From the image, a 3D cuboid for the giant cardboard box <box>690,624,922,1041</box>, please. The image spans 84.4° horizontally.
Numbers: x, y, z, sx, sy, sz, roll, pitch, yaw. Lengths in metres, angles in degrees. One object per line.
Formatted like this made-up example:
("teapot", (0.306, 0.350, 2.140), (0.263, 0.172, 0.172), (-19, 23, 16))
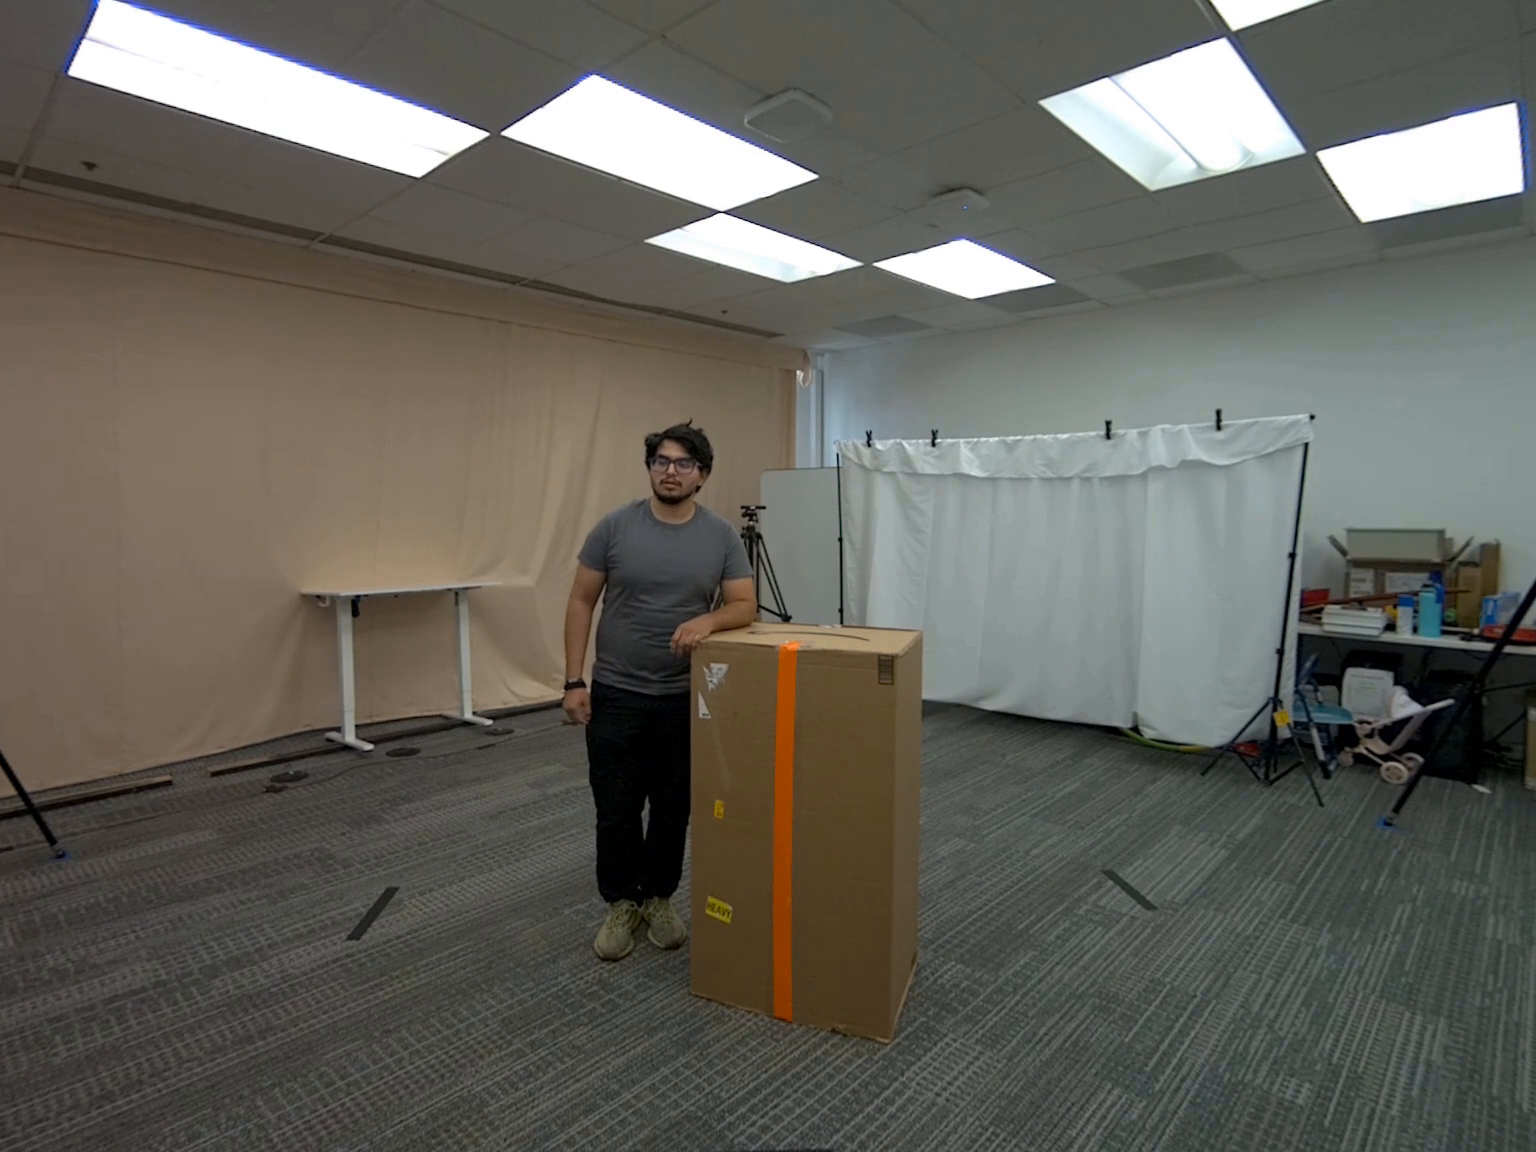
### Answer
("giant cardboard box", (0.127, 0.681, 2.440), (0.591, 1.024, 0.417), (2, 4, 22))
